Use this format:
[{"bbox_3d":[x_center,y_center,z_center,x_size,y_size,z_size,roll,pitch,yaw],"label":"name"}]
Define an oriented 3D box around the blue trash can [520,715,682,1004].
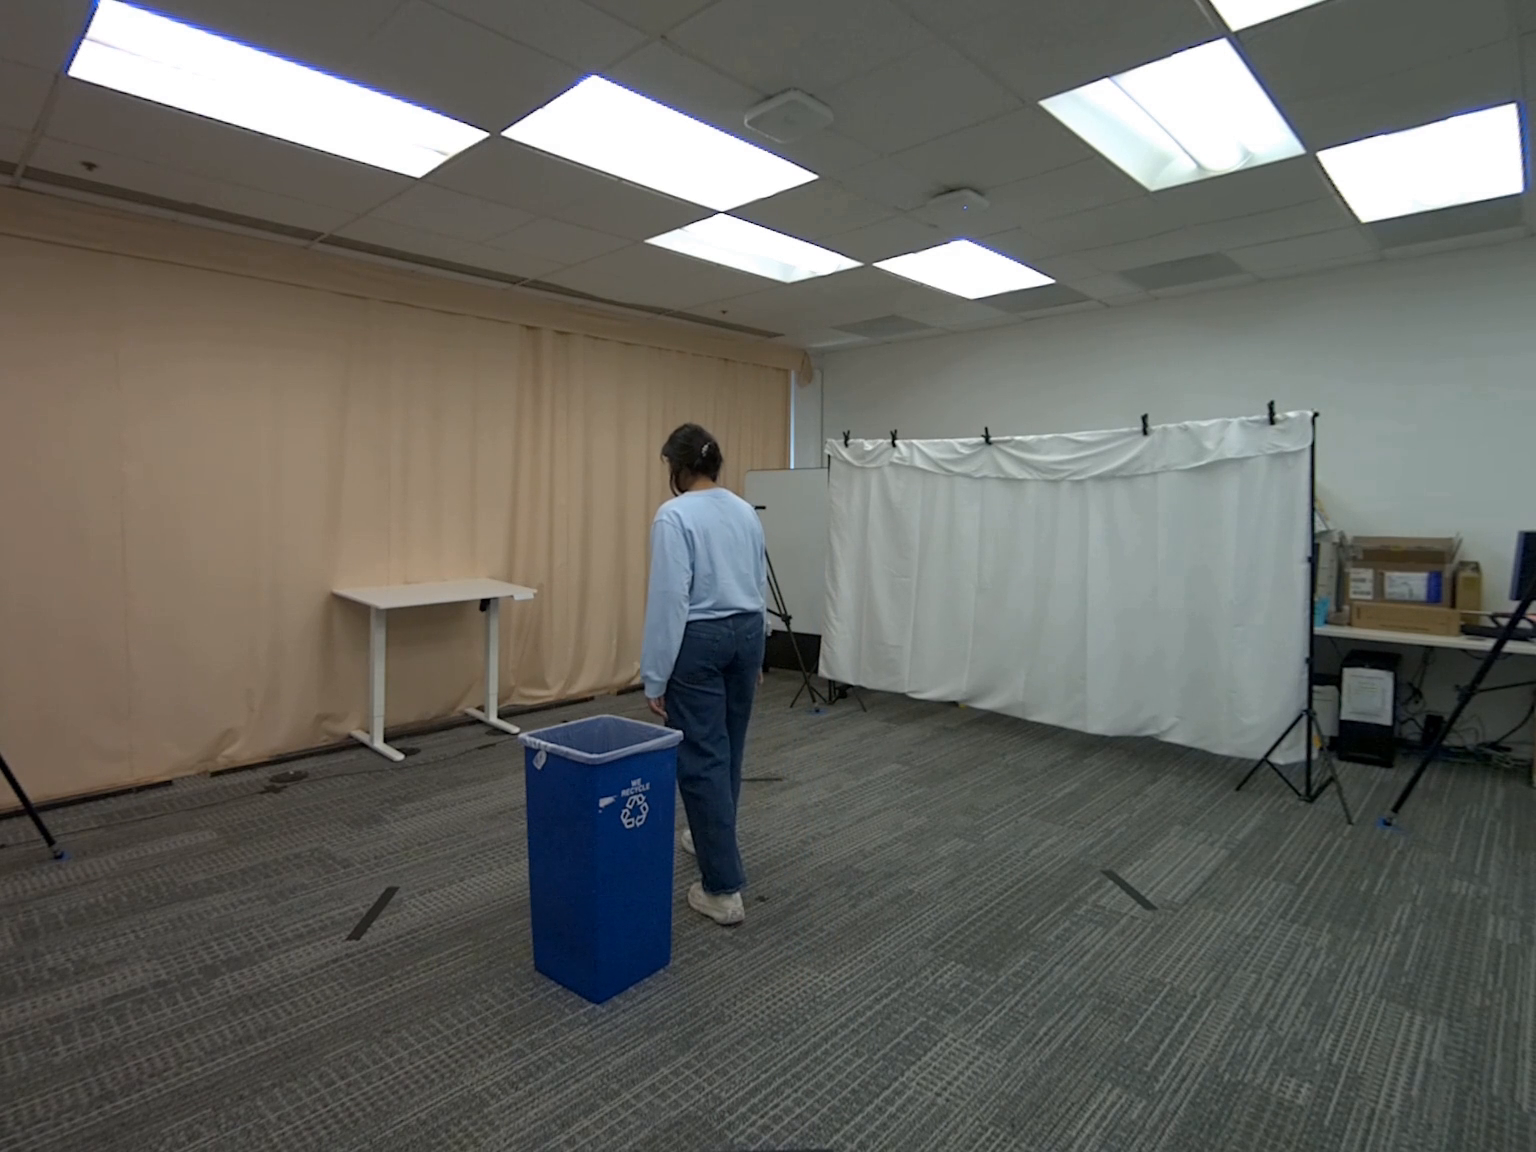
[{"bbox_3d":[-0.498,0.829,2.534,0.386,0.712,0.366,2,3,39],"label":"blue trash can"}]
